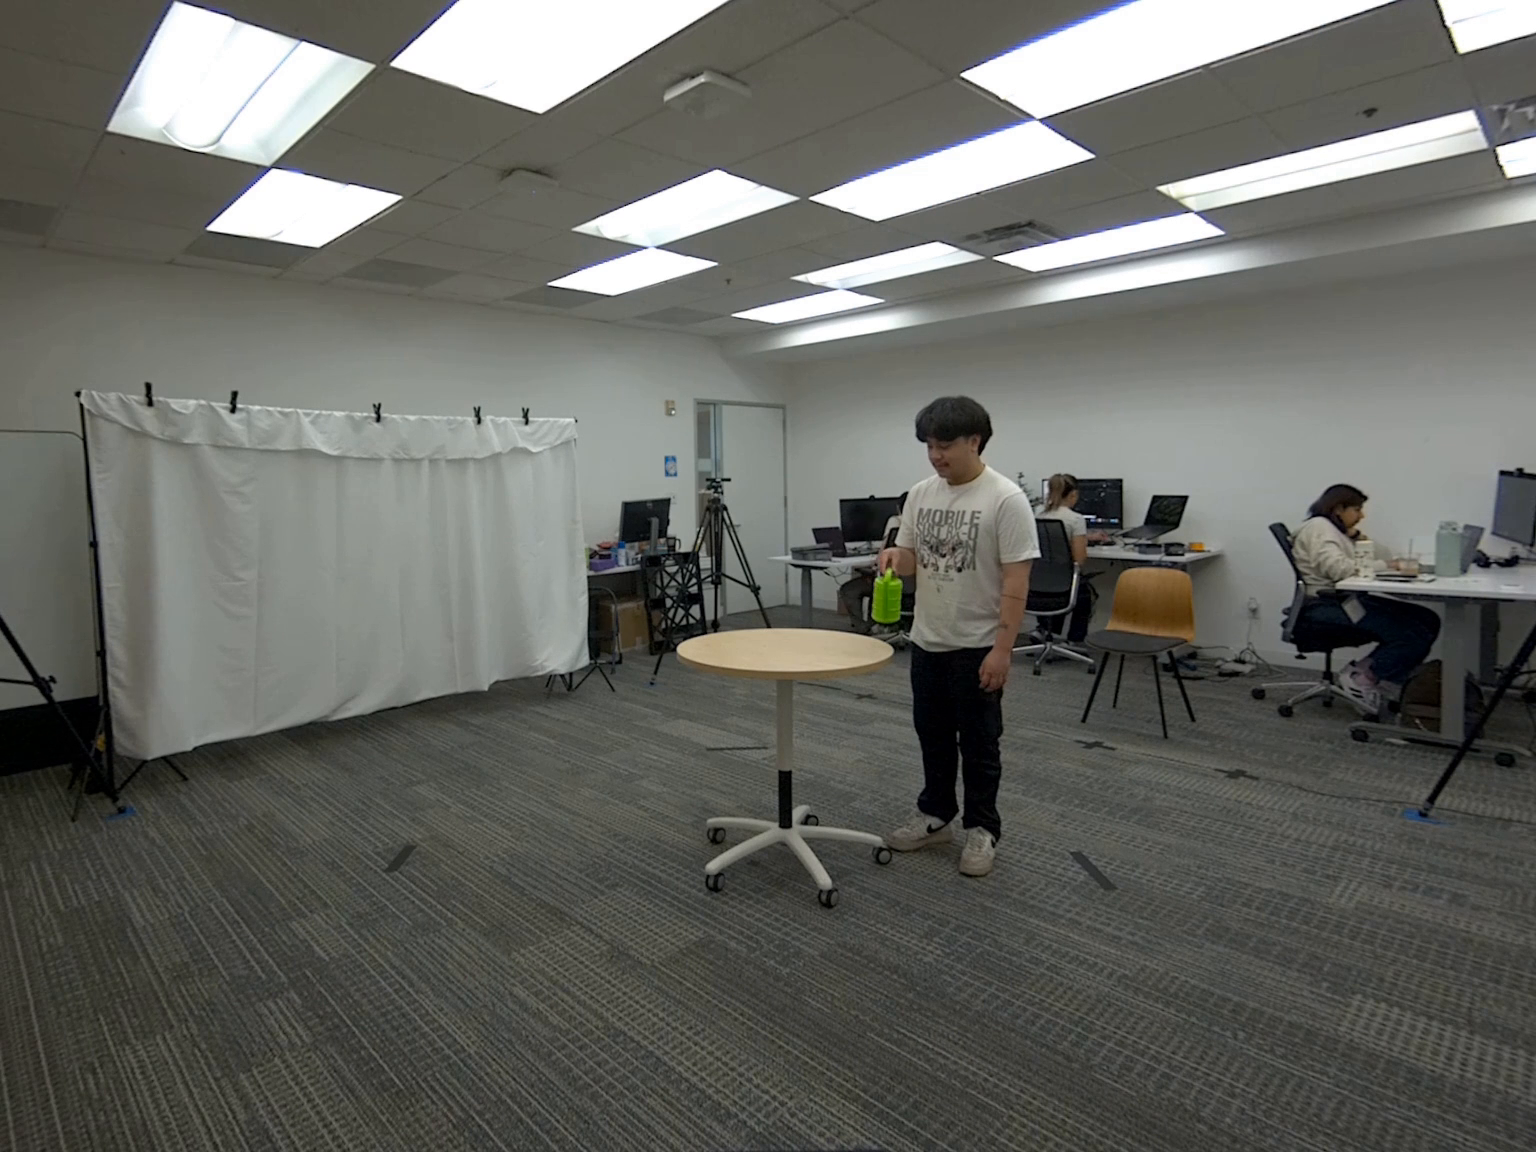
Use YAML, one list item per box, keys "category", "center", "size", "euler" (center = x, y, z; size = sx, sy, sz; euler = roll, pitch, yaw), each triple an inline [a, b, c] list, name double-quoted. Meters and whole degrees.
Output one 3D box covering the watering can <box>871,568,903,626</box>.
- category: "watering can"
  center: [0.401, 0.073, 2.867]
  size: [0.100, 0.175, 0.274]
  euler: [5, 11, 25]
